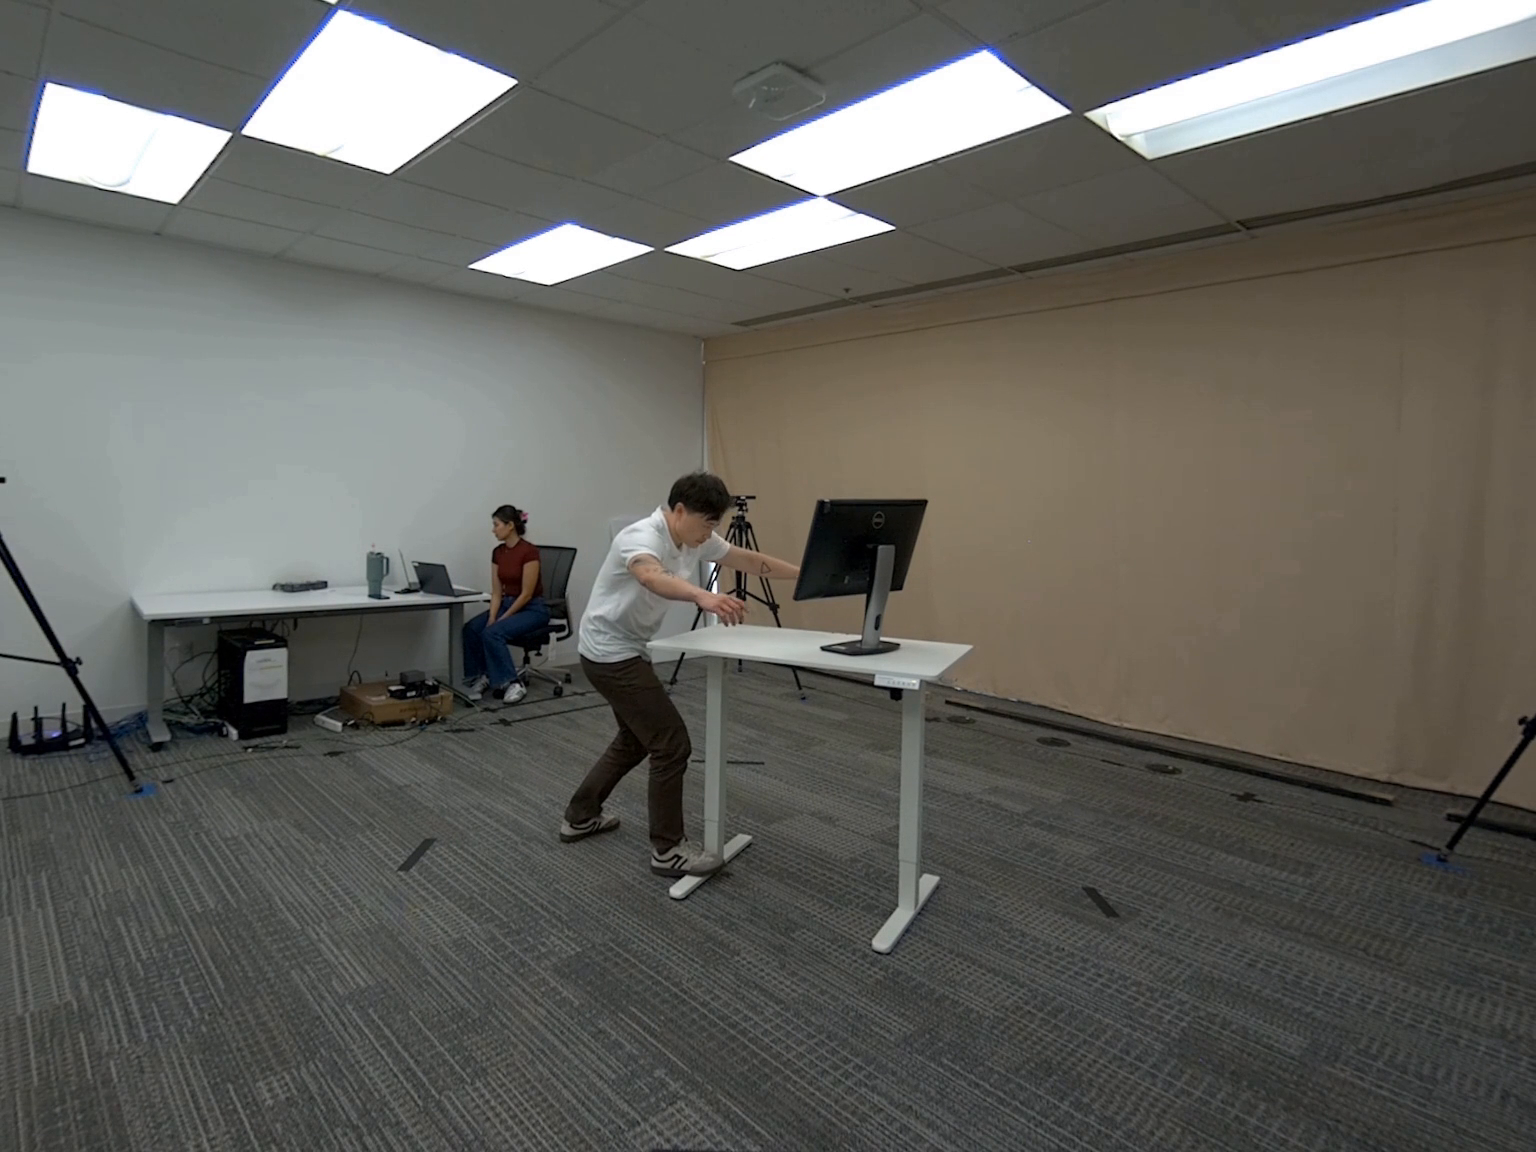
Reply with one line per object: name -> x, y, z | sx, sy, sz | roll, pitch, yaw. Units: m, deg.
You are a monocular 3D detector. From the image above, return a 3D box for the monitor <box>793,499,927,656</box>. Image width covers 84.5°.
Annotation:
monitor -> 0.333, -0.001, 2.865 | 0.527, 0.520, 0.192 | -4, 9, -43
